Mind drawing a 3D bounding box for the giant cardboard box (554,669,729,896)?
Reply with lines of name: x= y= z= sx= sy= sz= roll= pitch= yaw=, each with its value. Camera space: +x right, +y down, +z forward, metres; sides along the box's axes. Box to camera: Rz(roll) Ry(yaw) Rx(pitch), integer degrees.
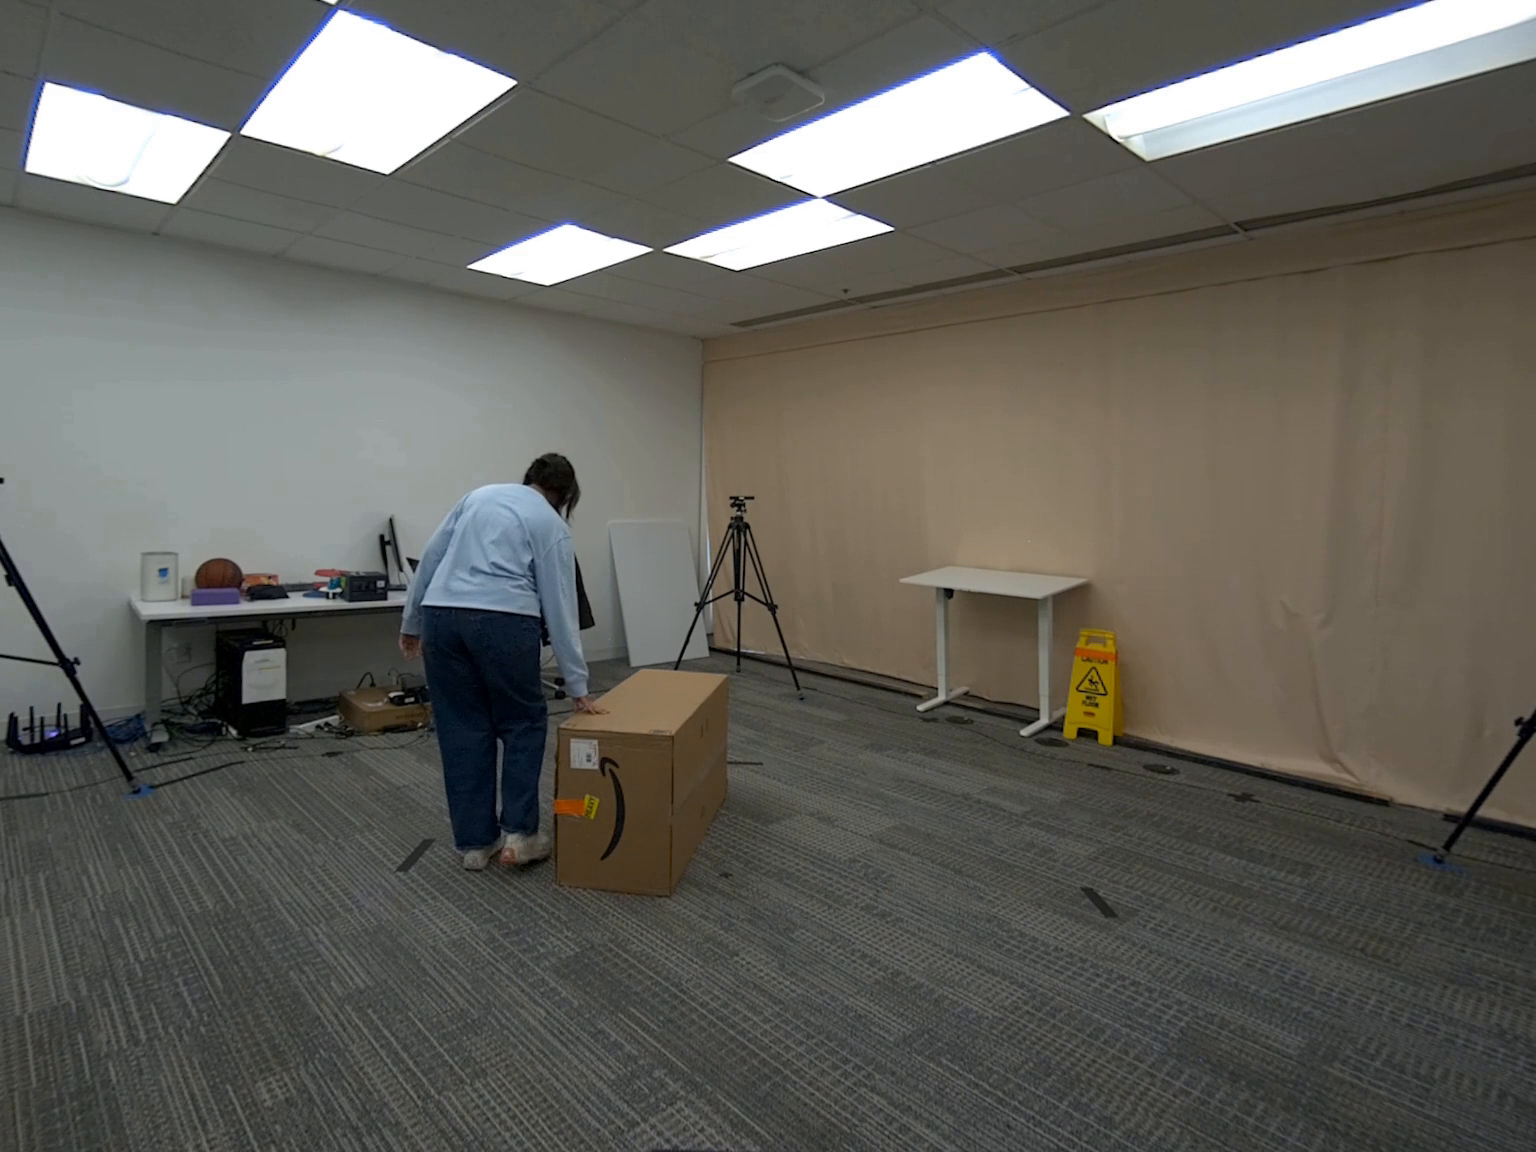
giant cardboard box: x=-0.475 y=0.778 z=3.446 sx=0.429 sy=0.576 sz=1.021 roll=1 pitch=5 yaw=8
